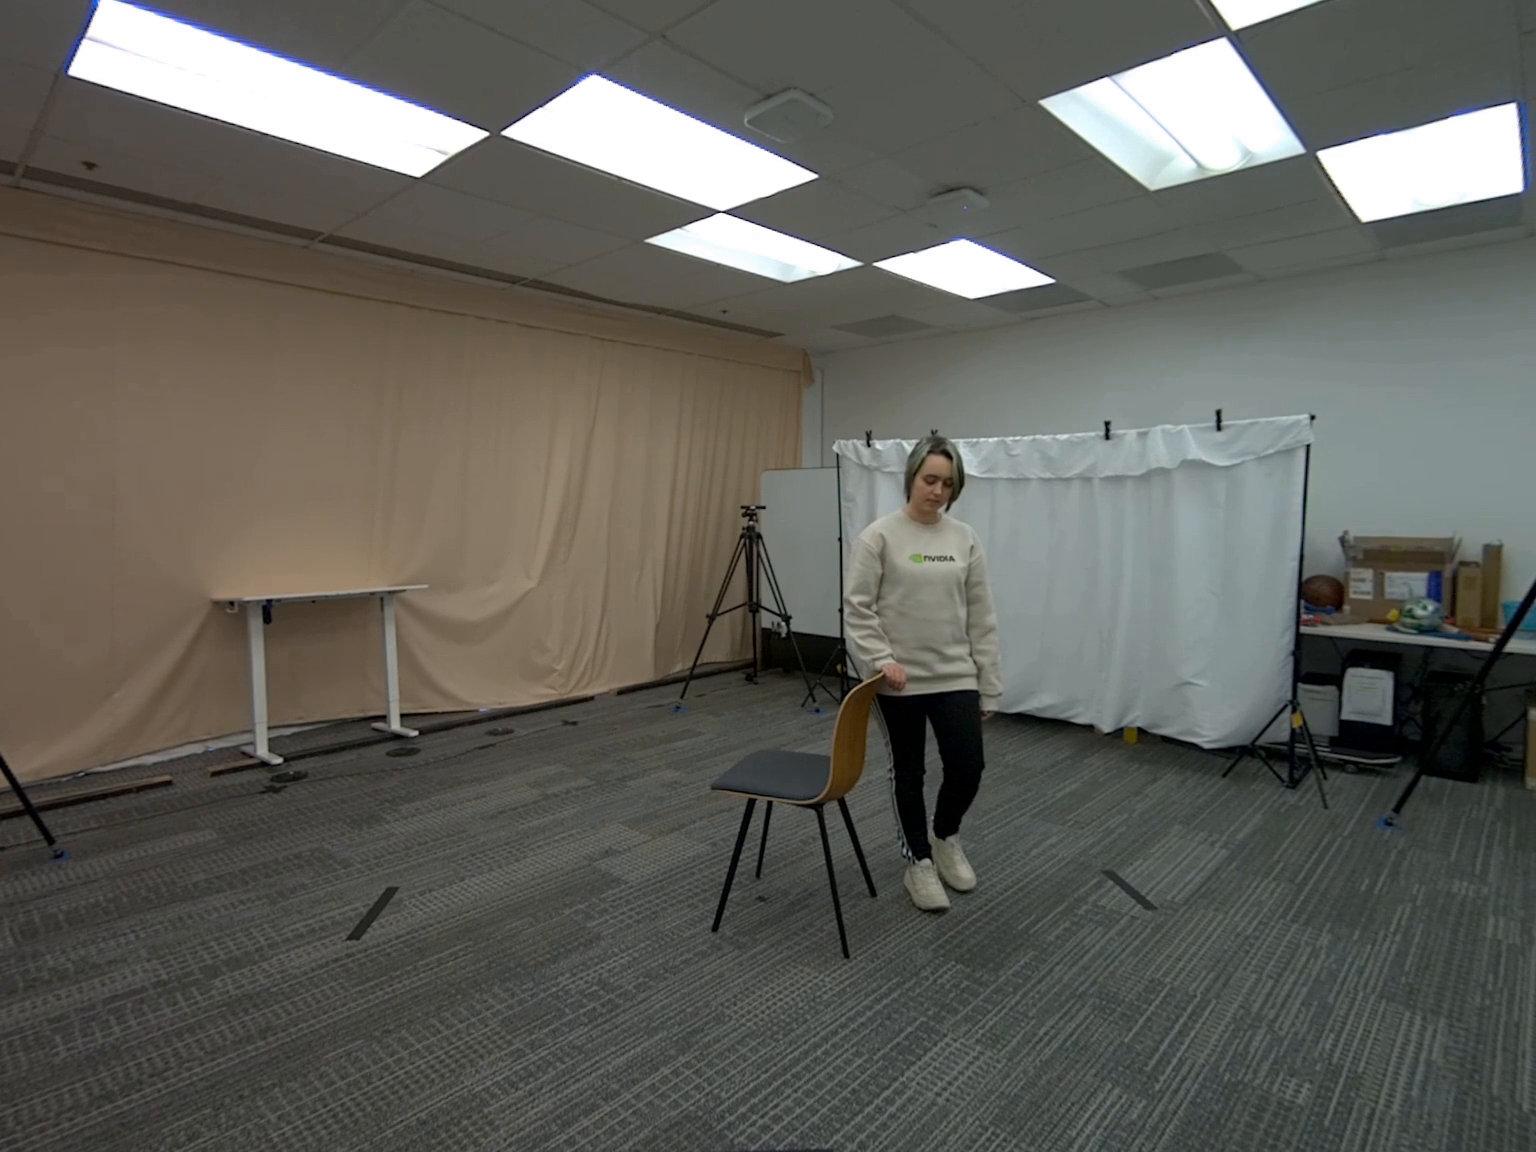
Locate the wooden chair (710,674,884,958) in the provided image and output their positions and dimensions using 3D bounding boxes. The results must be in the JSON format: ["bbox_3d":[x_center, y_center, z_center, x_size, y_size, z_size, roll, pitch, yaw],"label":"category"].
[{"bbox_3d":[0.093,0.729,2.846,0.535,0.875,0.468,6,5,21],"label":"wooden chair"}]
